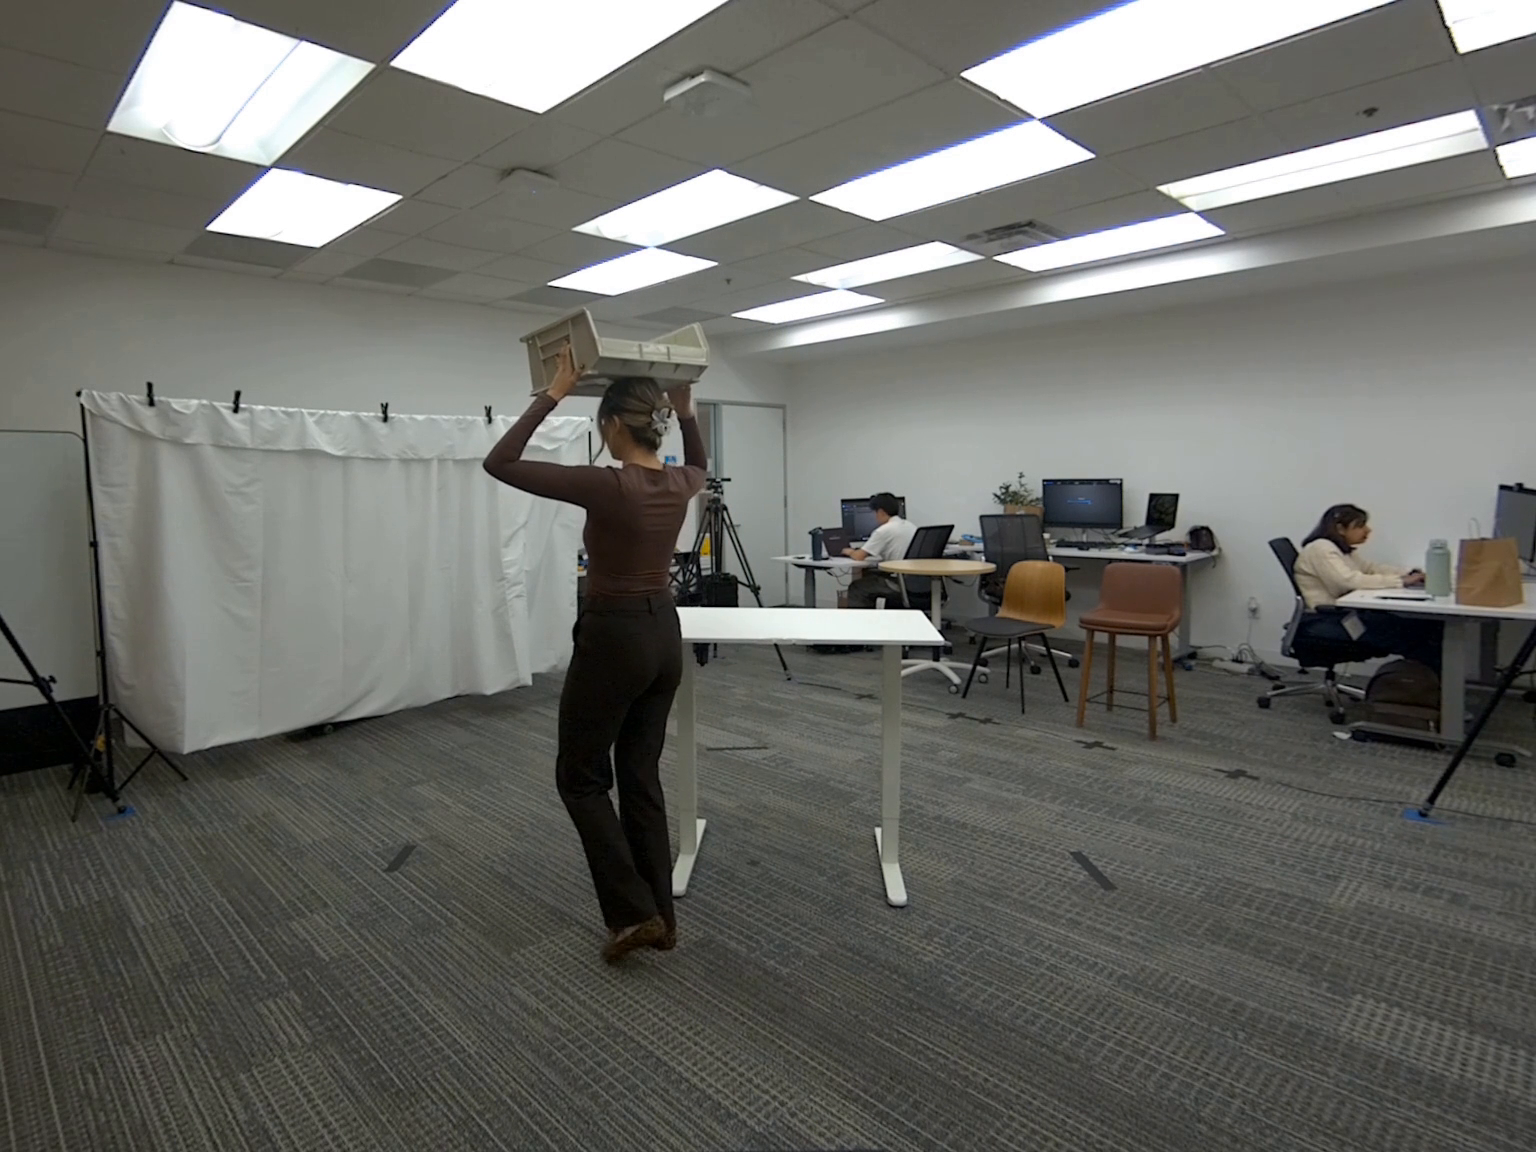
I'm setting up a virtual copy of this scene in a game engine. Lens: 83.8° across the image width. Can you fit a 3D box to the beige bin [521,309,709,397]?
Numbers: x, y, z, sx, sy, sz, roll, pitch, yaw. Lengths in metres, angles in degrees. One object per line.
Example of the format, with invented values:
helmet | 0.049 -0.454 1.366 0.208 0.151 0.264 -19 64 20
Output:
beige bin | -0.451 -0.654 2.559 0.412 0.189 0.387 -9 3 -45
